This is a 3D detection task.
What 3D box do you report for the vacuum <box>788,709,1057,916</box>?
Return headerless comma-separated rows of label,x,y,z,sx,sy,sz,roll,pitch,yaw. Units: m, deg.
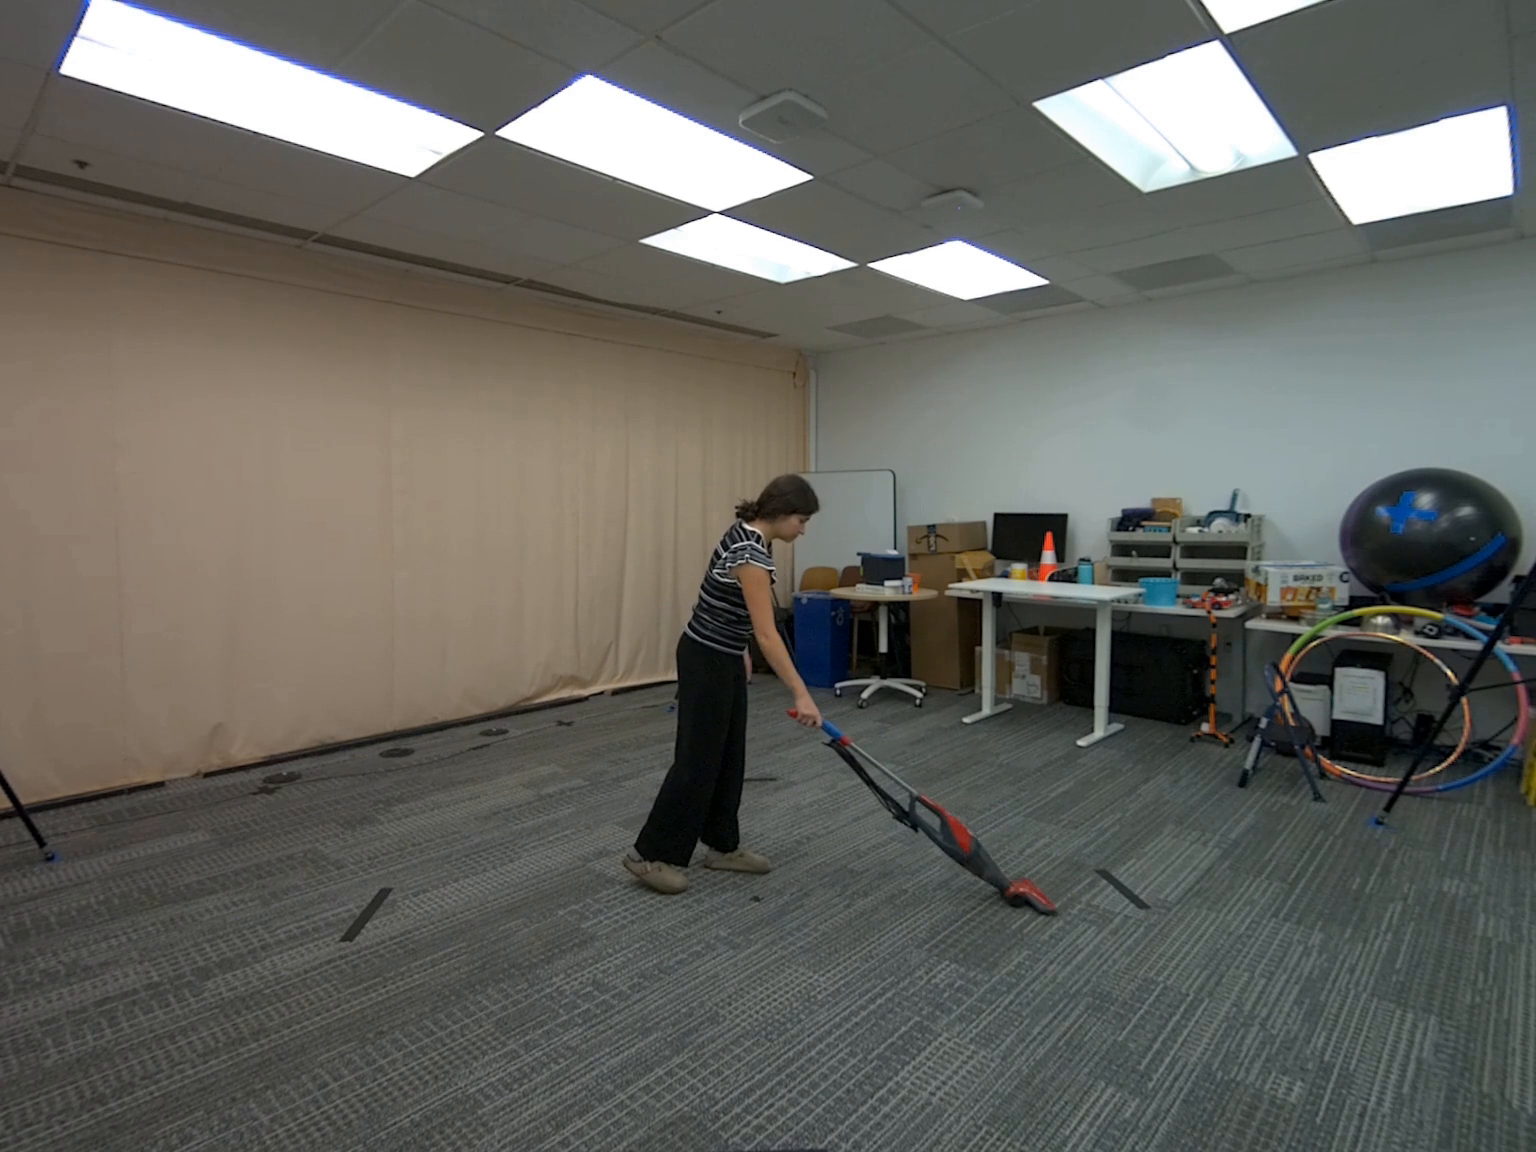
vacuum,0.491,0.801,2.951,1.046,0.144,0.253,38,-1,-3
